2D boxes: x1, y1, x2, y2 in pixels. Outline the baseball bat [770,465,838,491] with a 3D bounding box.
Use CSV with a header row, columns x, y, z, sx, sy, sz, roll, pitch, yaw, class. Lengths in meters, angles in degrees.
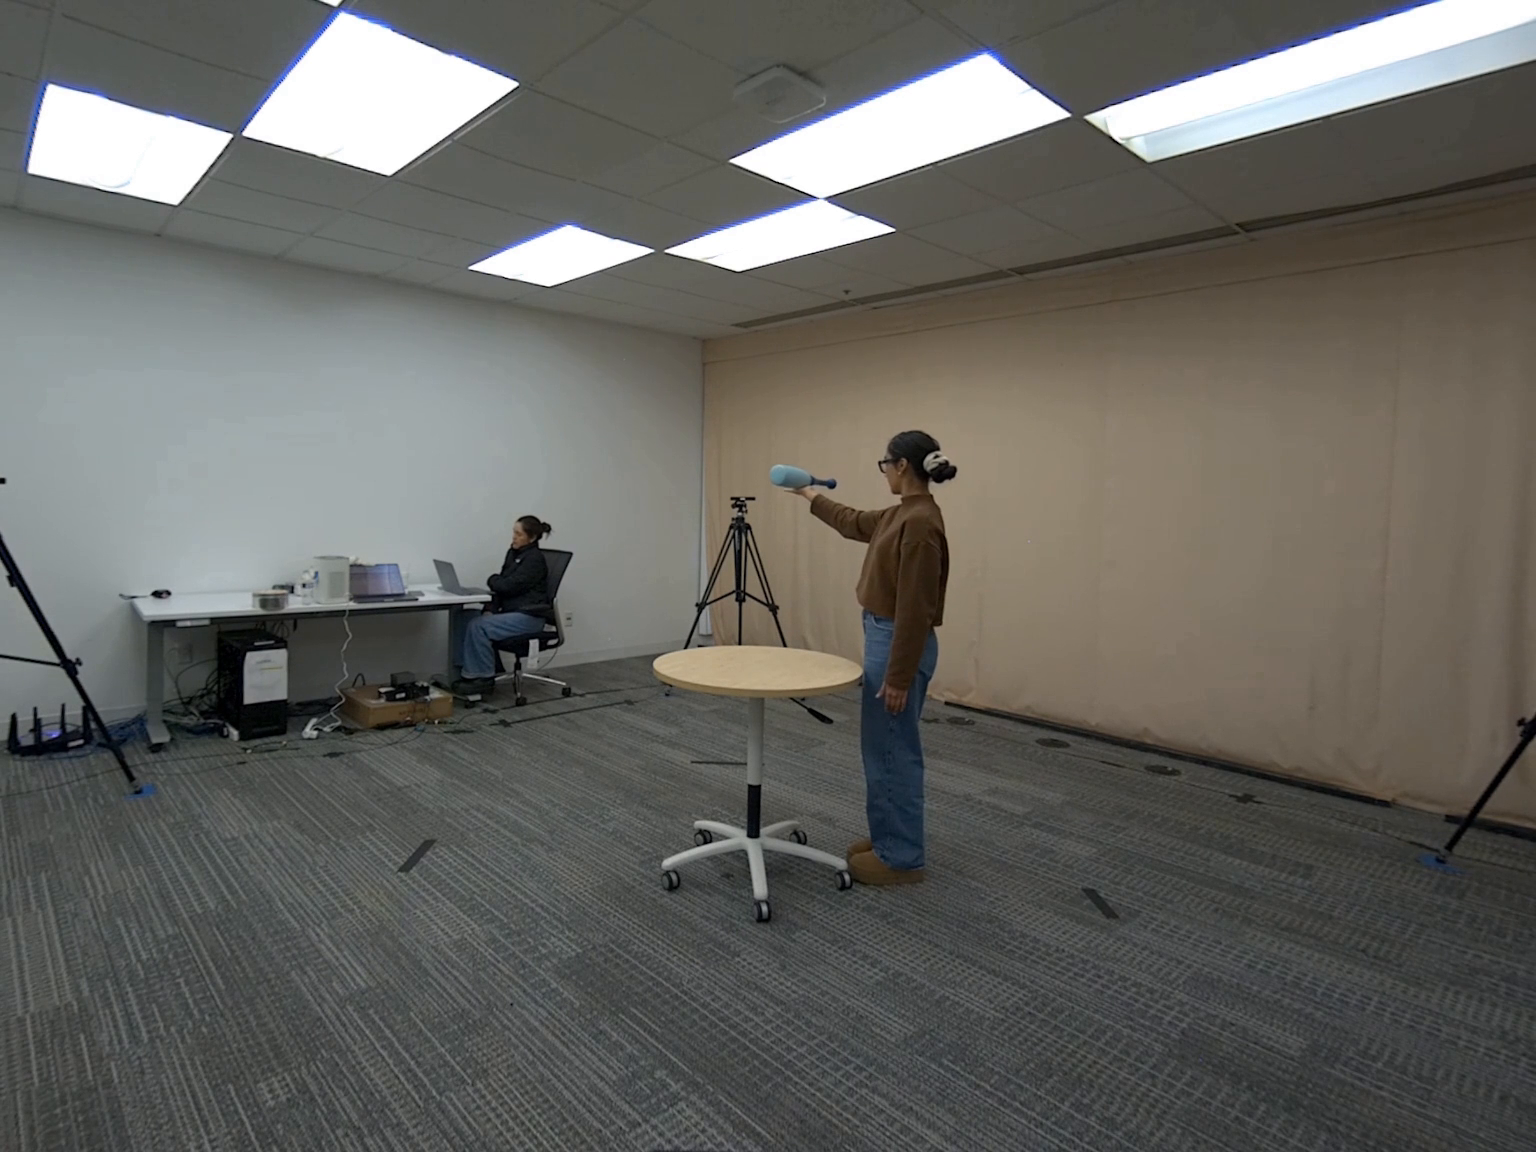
x,y,z,sx,sy,sz,roll,pitch,yaw,class
0.159,-0.419,3.677,0.091,0.089,0.532,4,3,29,baseball bat
